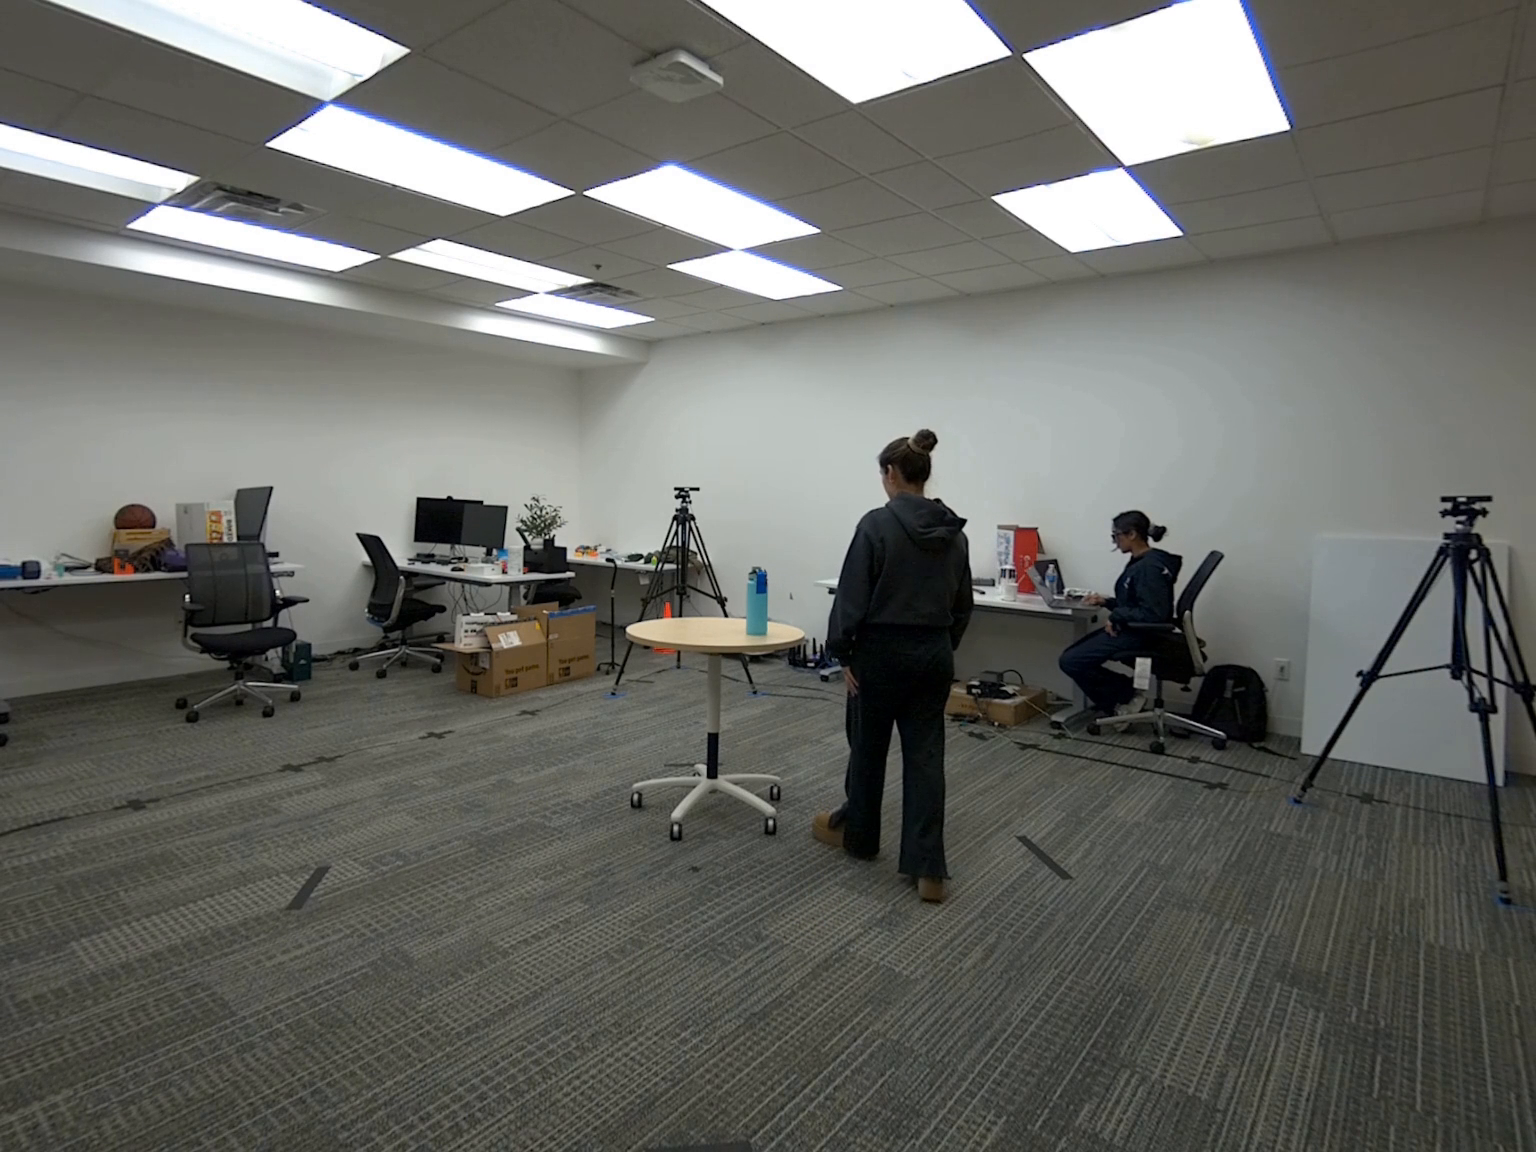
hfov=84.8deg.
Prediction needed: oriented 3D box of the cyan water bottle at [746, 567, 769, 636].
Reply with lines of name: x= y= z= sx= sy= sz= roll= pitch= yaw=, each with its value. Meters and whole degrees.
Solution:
cyan water bottle: x=-0.050 y=0.101 z=3.575 sx=0.092 sy=0.282 sz=0.093 roll=2 pitch=4 yaw=-2
